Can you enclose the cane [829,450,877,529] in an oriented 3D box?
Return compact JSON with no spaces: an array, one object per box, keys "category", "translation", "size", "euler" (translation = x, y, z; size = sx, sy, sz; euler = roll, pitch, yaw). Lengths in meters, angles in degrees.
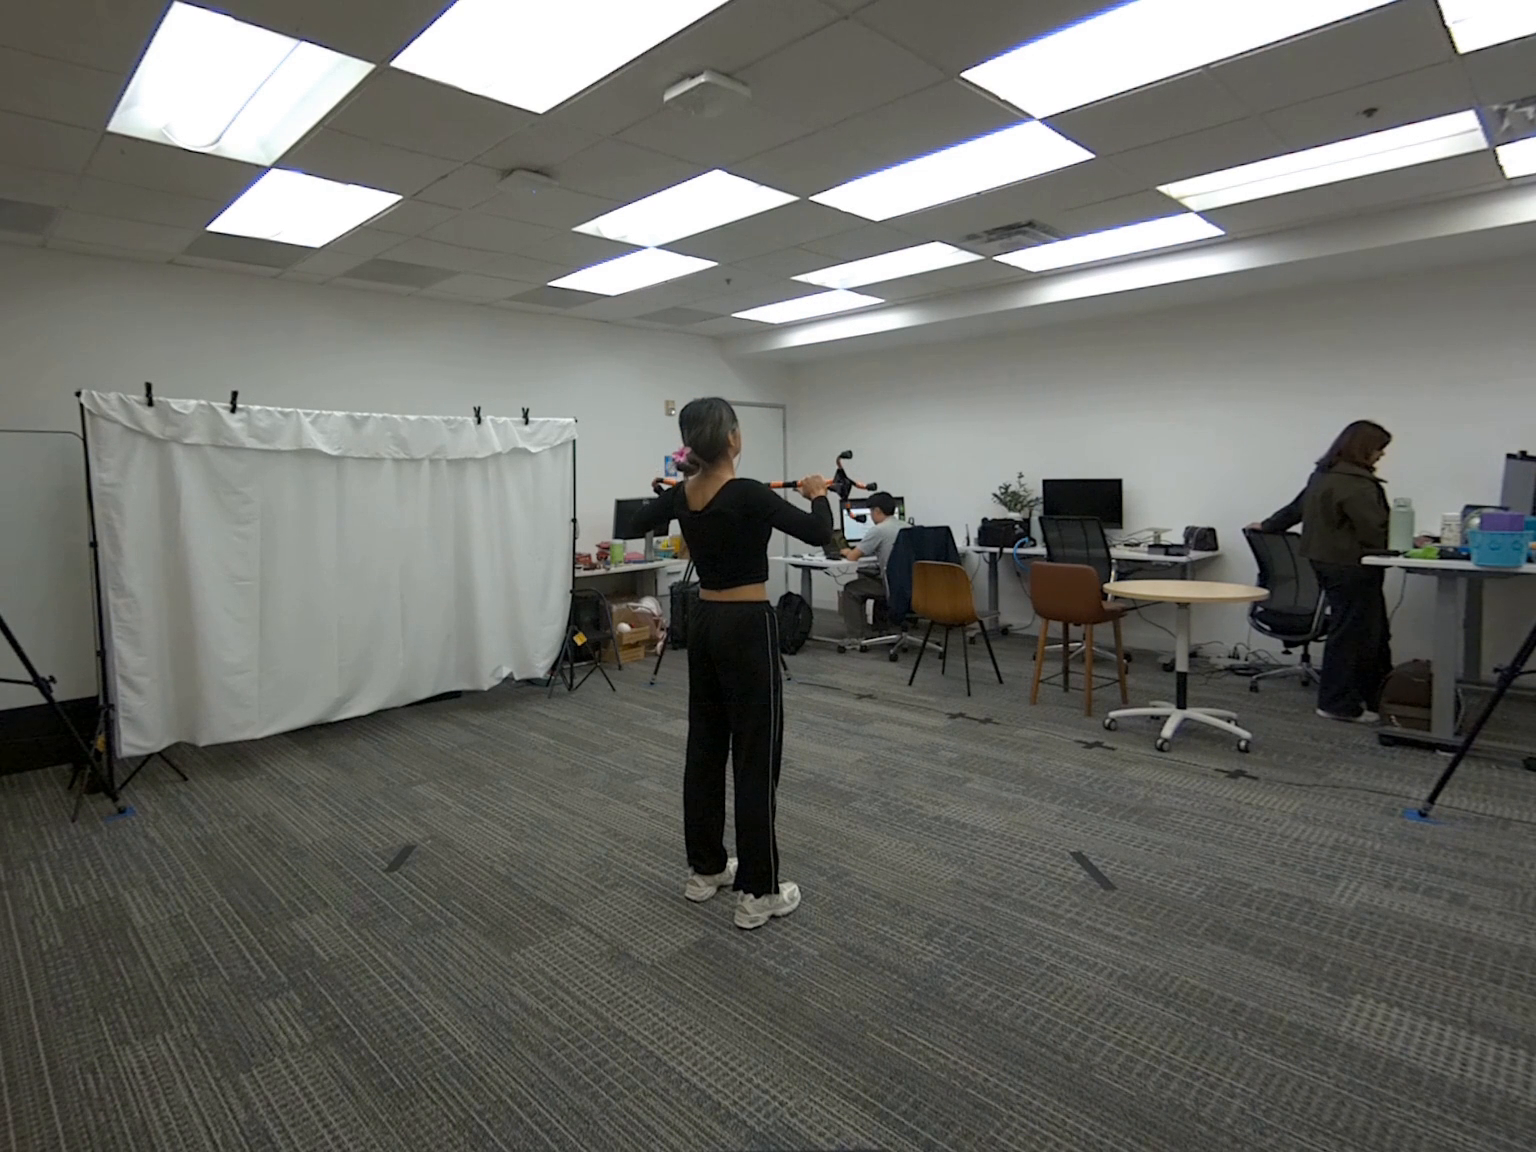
[{"category":"cane","translation":[-0.076,-0.302,2.971],"size":[0.935,0.153,0.198],"euler":[3,-30,41]}]
